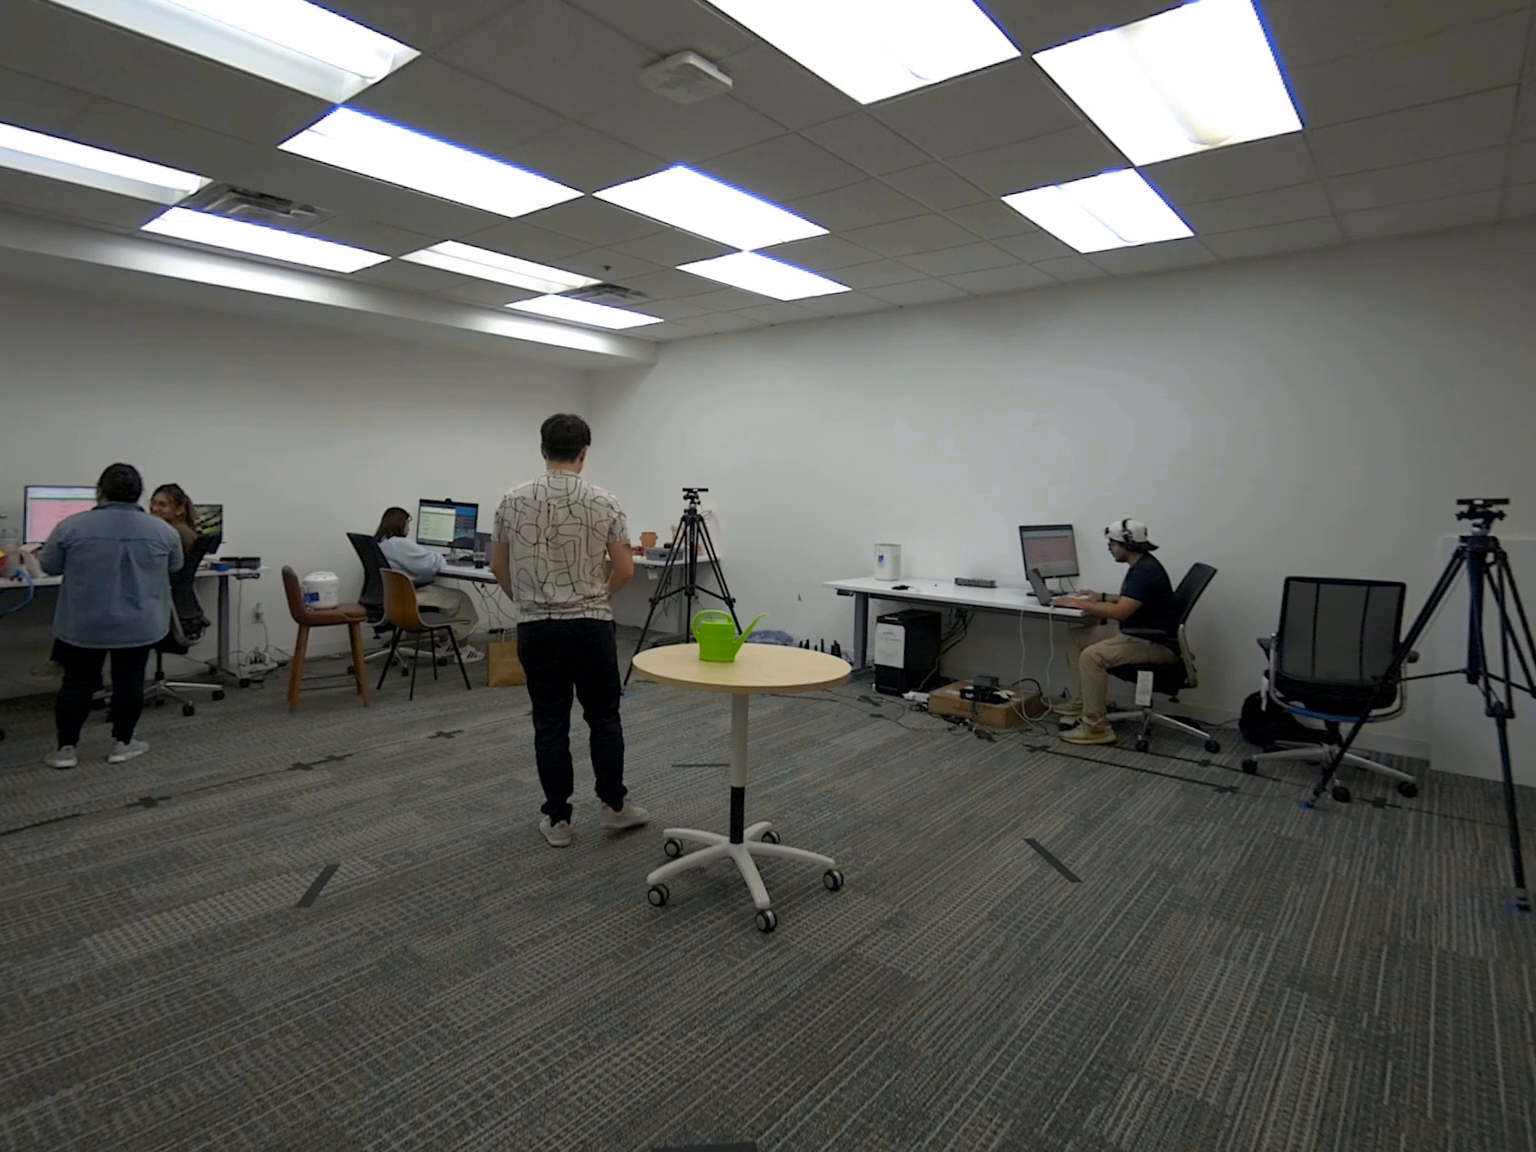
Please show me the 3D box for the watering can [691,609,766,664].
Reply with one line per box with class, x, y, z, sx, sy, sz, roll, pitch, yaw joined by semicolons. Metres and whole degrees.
watering can;-0.150;0.211;2.987;0.286;0.176;0.096;3;5;28
